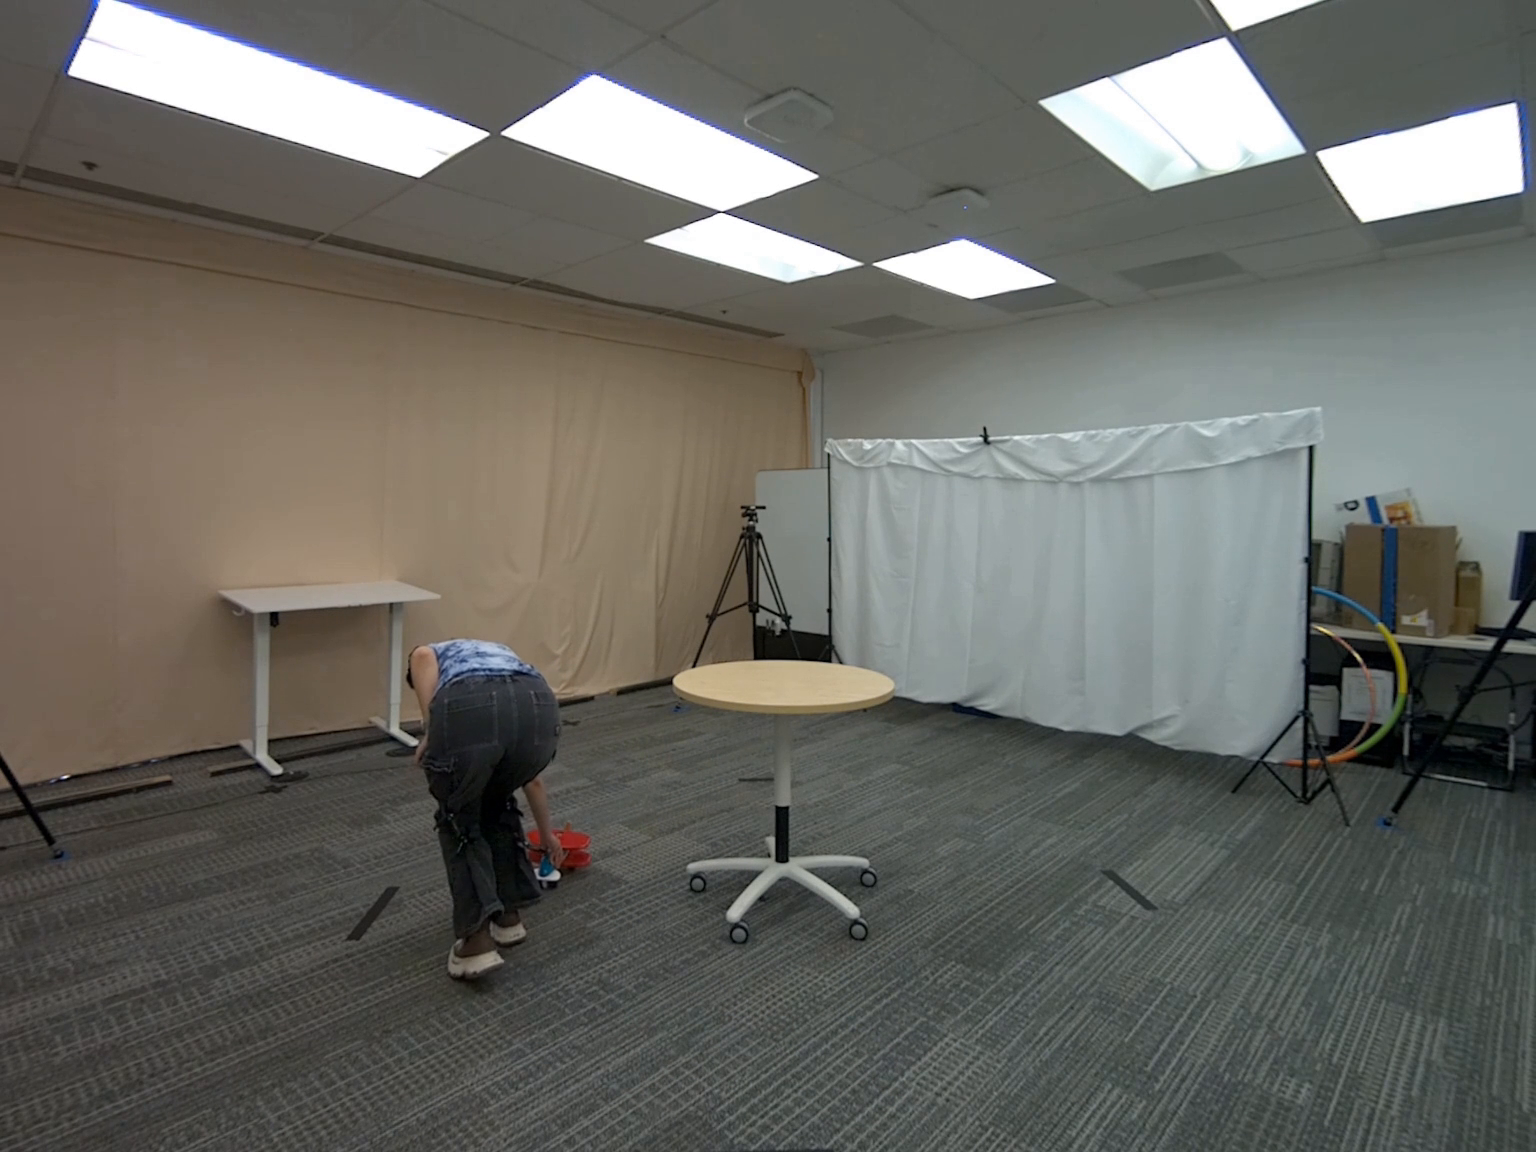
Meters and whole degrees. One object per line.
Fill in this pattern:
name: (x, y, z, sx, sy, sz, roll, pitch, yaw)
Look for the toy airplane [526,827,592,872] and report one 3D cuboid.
toy airplane: (-0.787, 1.065, 3.163, 0.246, 0.156, 0.265, 0, 4, -20)
